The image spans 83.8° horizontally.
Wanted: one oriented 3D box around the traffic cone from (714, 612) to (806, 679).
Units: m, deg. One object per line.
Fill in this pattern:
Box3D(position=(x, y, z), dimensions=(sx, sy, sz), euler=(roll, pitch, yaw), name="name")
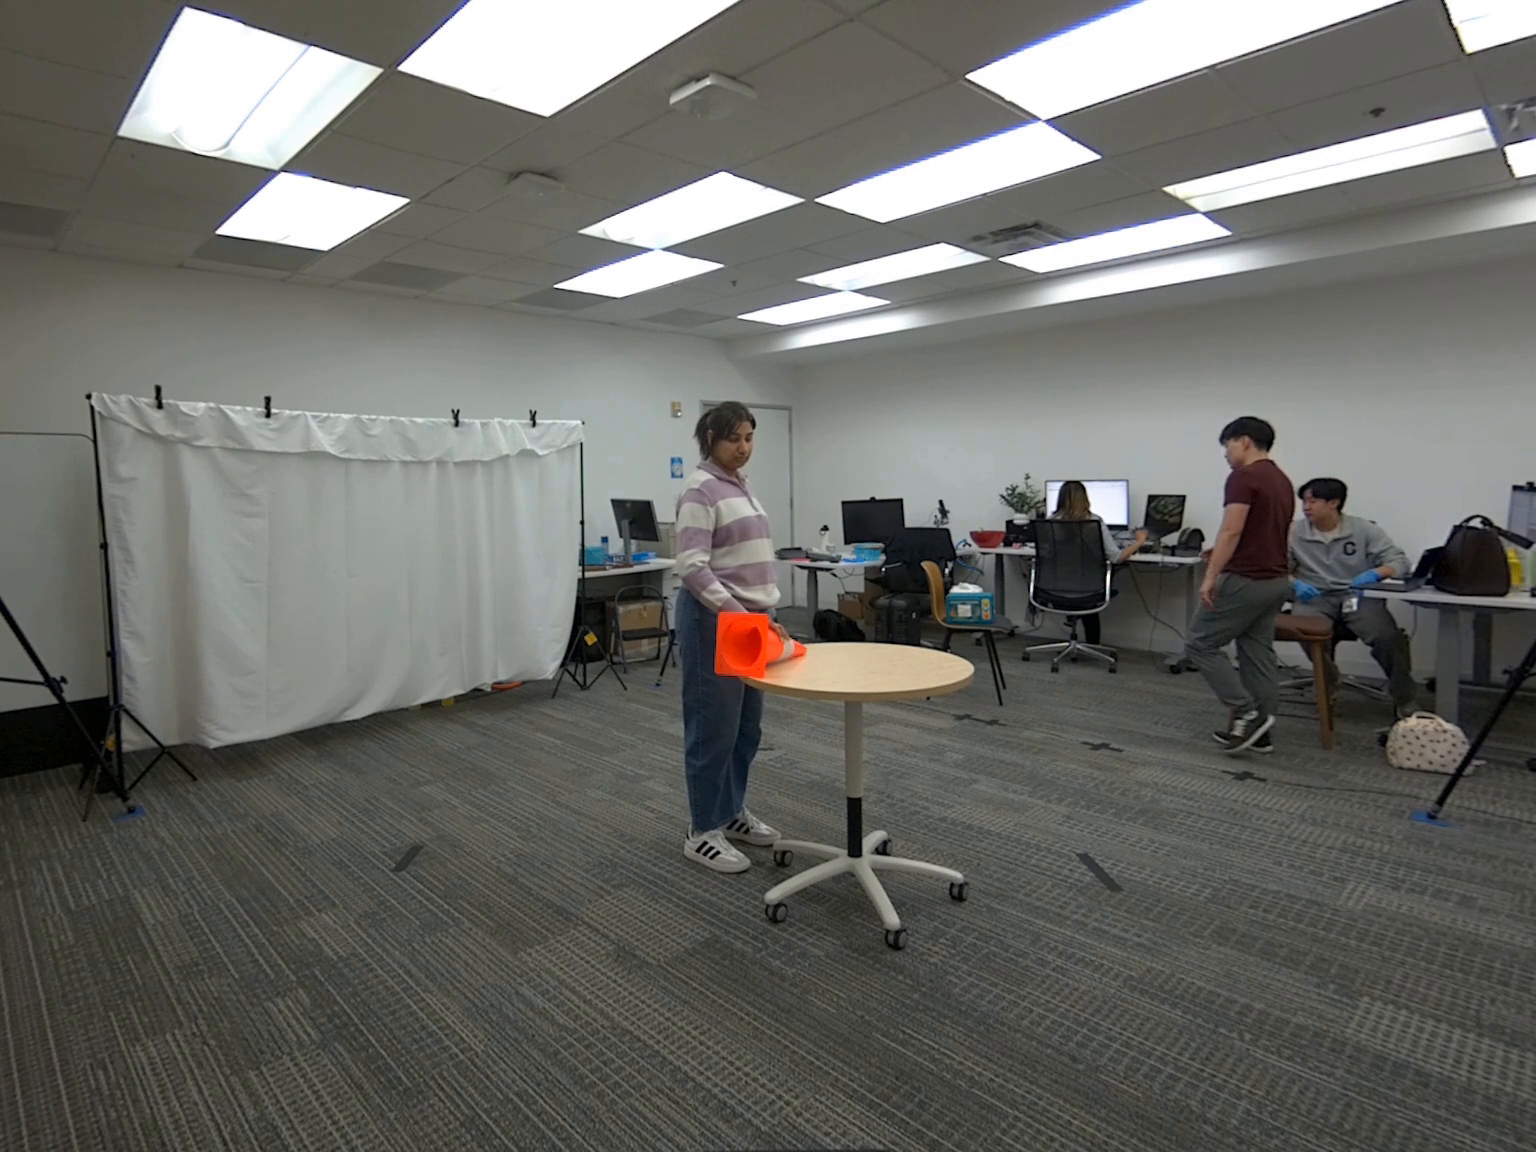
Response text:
Box3D(position=(0.033, 0.239, 2.842), dimensions=(0.211, 0.204, 0.371), euler=(0, -6, 36), name="traffic cone")
